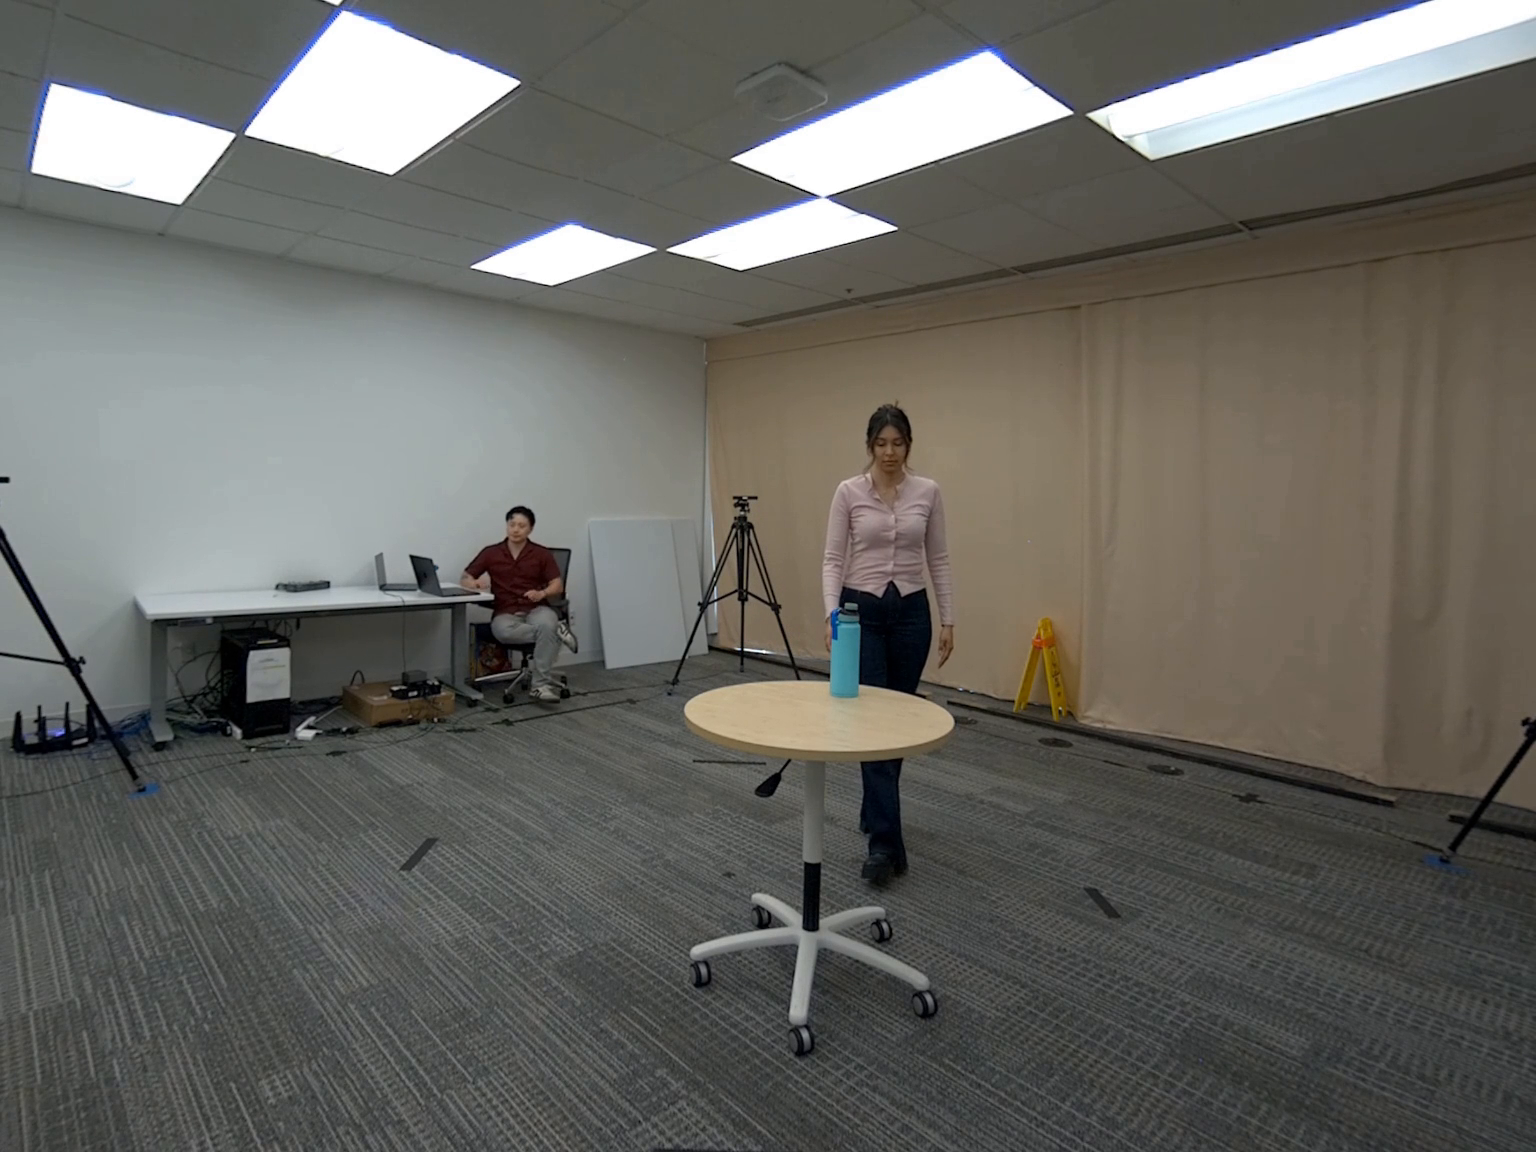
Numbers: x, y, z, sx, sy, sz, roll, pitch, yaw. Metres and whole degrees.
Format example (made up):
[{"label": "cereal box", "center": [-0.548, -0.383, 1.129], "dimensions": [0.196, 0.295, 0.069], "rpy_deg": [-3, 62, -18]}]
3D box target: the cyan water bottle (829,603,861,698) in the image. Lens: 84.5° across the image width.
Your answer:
[{"label": "cyan water bottle", "center": [0.241, 0.234, 2.605], "dimensions": [0.092, 0.282, 0.092], "rpy_deg": [2, 4, -2]}]
